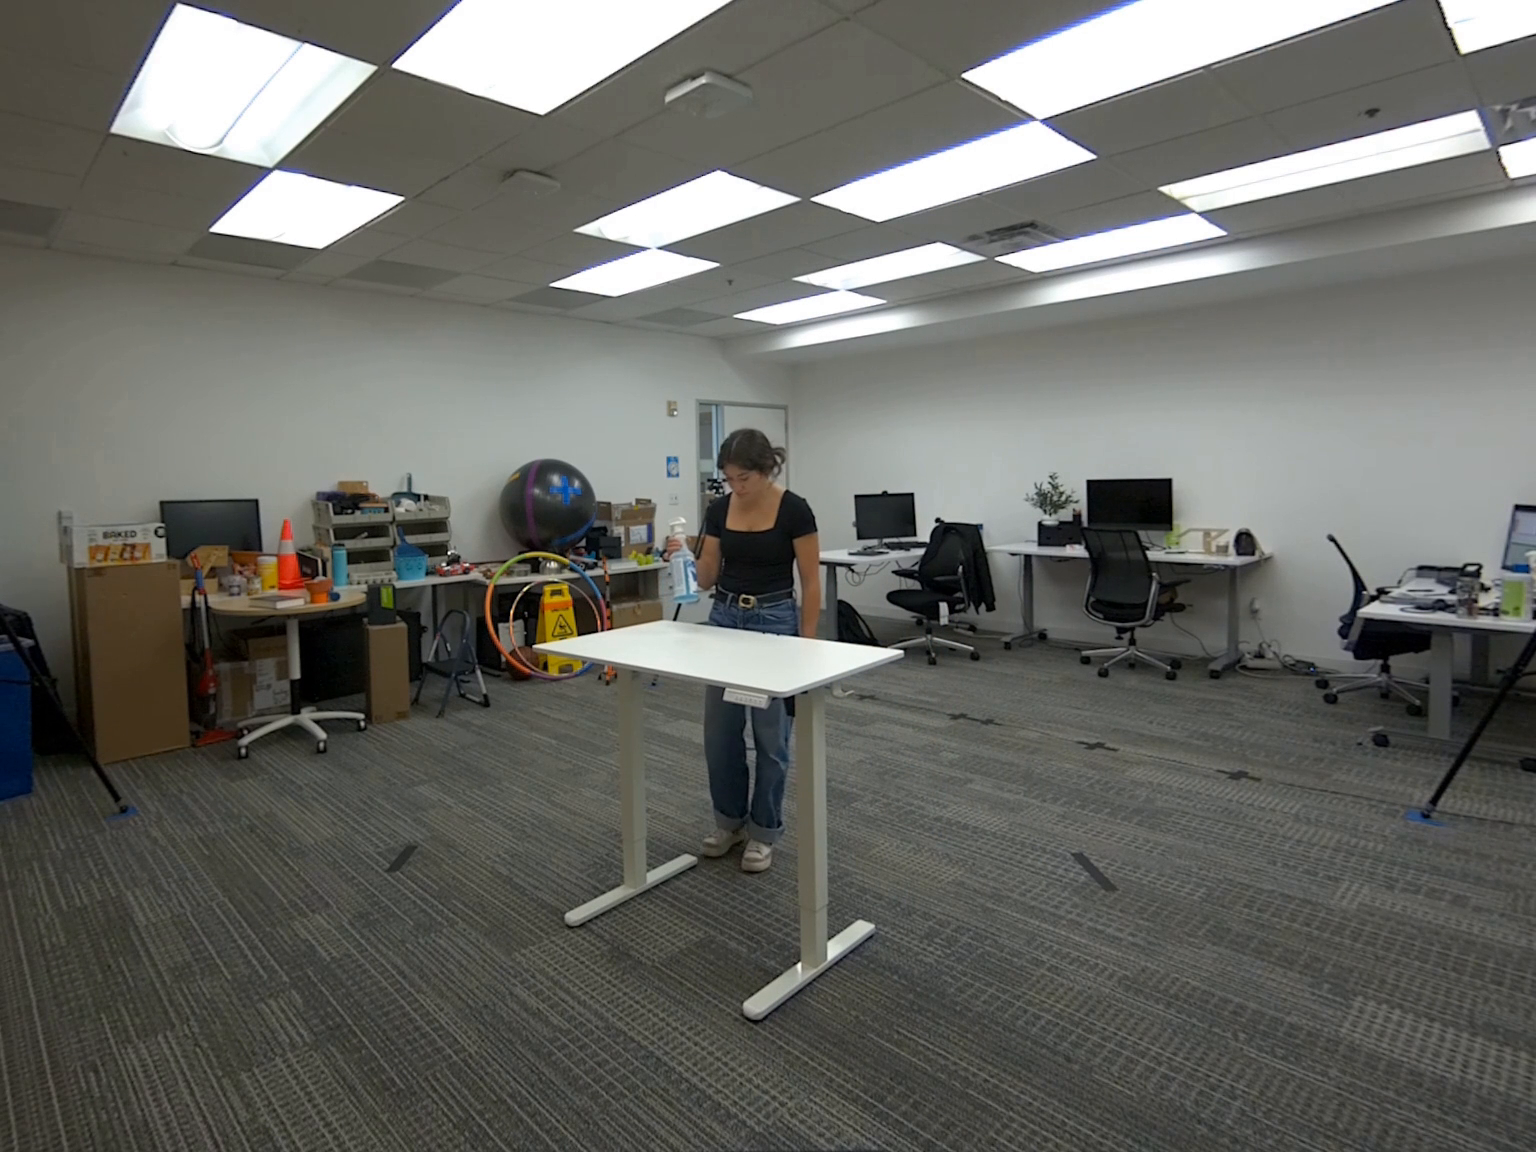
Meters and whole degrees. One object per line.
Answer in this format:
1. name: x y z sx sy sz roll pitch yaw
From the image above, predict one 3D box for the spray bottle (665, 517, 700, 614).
1. spray bottle: -0.292 -0.057 2.936 0.086 0.301 0.090 -2 -14 -15
